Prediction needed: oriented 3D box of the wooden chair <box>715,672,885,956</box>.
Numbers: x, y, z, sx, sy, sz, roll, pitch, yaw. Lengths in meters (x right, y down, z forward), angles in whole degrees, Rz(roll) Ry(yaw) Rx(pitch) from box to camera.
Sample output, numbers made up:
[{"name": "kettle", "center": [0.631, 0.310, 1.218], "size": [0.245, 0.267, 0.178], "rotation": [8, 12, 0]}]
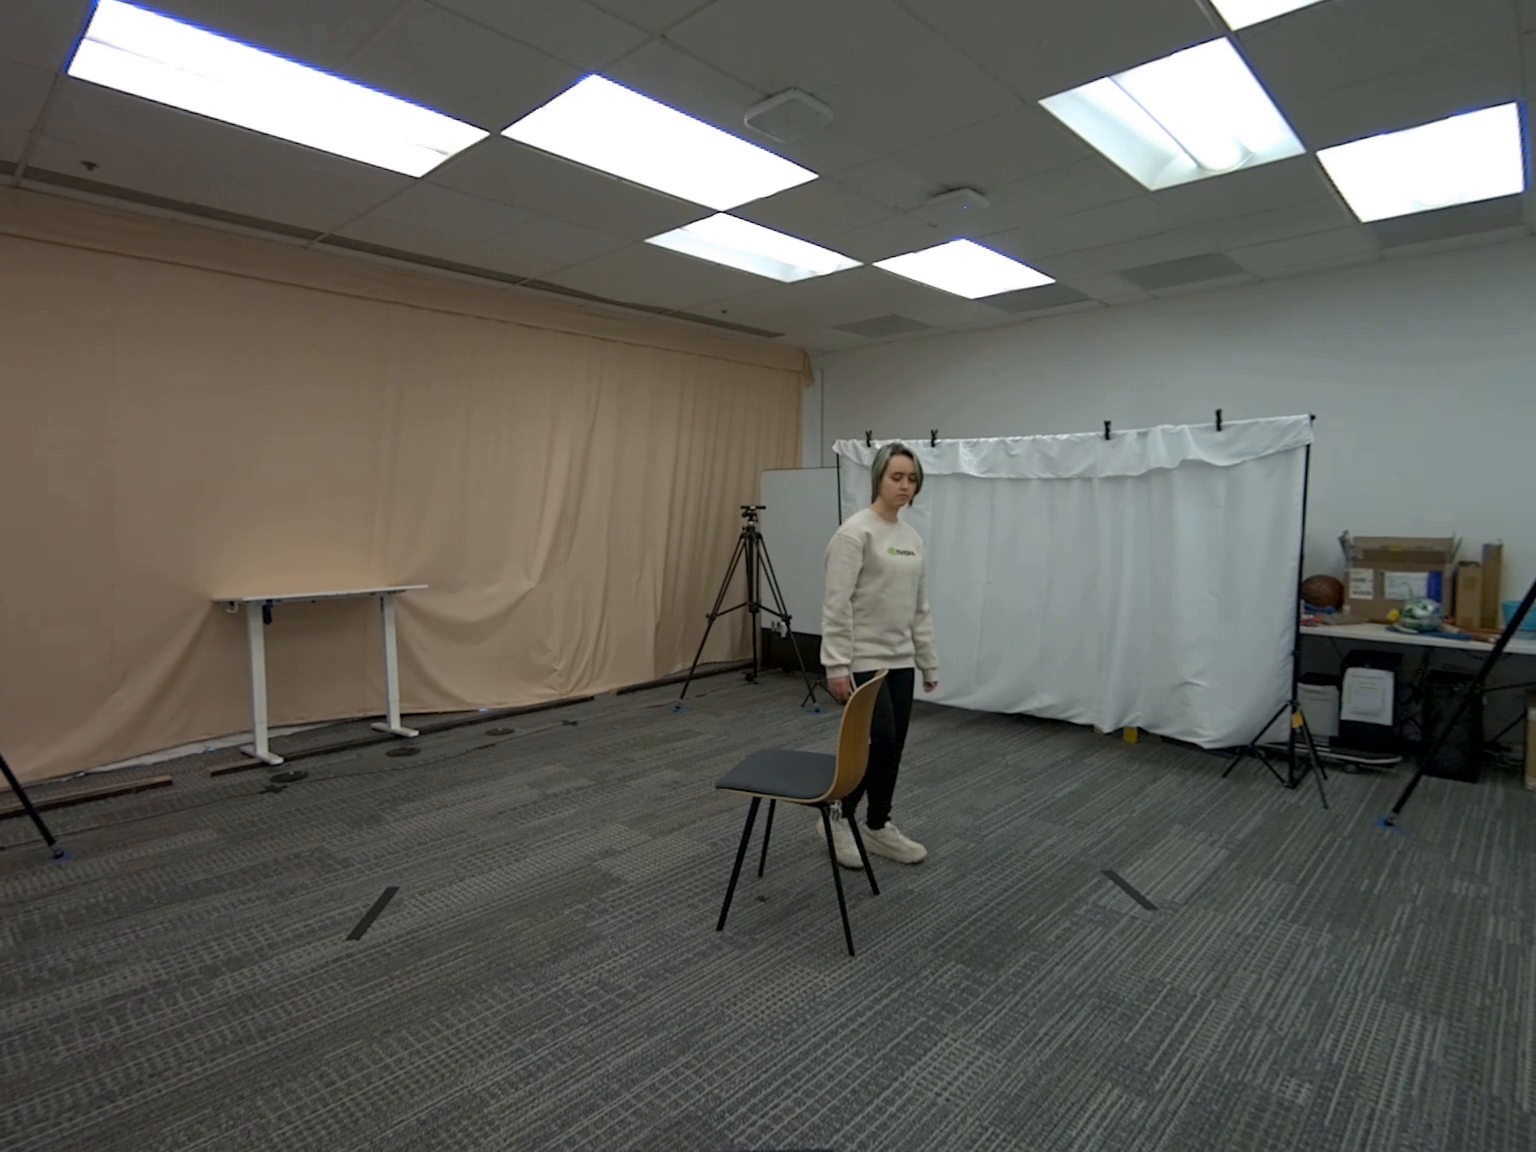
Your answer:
[{"name": "wooden chair", "center": [0.107, 0.727, 2.858], "size": [0.535, 0.875, 0.469], "rotation": [6, 5, 19]}]
